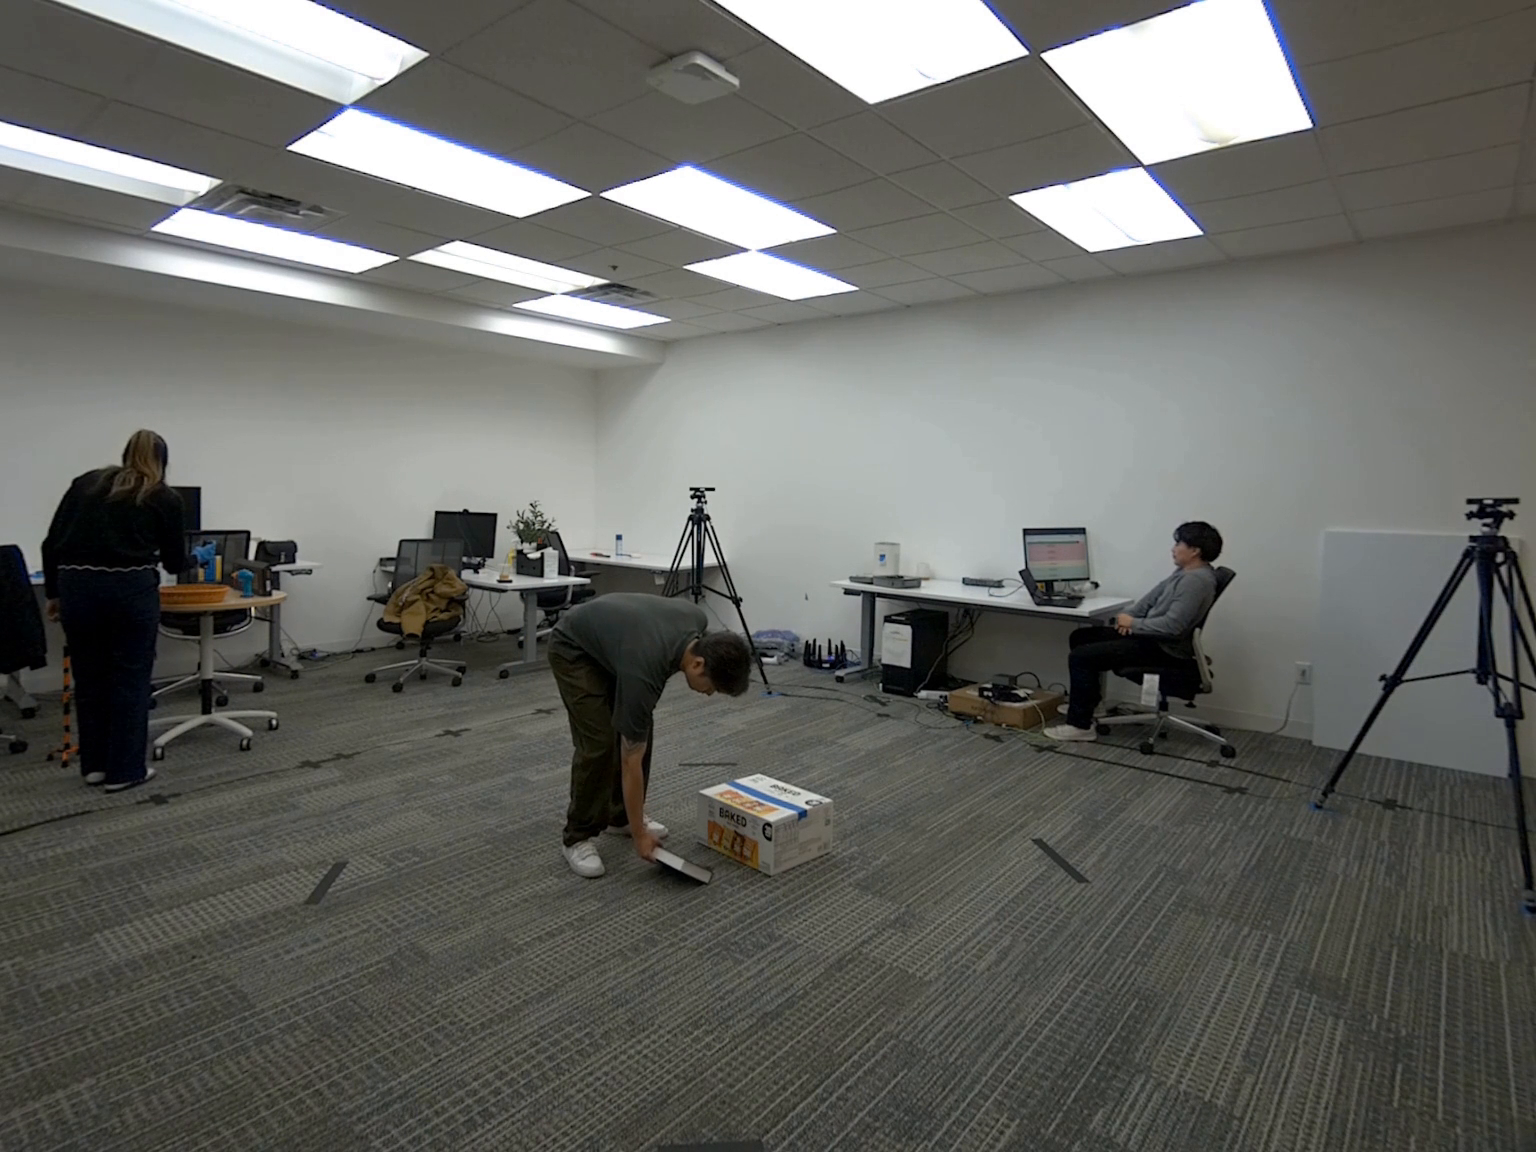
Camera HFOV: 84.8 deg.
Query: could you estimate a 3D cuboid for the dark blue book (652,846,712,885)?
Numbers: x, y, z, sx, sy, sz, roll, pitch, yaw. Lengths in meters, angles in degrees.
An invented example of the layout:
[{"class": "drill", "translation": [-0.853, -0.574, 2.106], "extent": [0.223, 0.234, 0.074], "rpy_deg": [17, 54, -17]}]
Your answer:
[{"class": "dark blue book", "translation": [-0.339, 1.014, 3.030], "extent": [0.253, 0.045, 0.157], "rpy_deg": [4, -27, 48]}]
